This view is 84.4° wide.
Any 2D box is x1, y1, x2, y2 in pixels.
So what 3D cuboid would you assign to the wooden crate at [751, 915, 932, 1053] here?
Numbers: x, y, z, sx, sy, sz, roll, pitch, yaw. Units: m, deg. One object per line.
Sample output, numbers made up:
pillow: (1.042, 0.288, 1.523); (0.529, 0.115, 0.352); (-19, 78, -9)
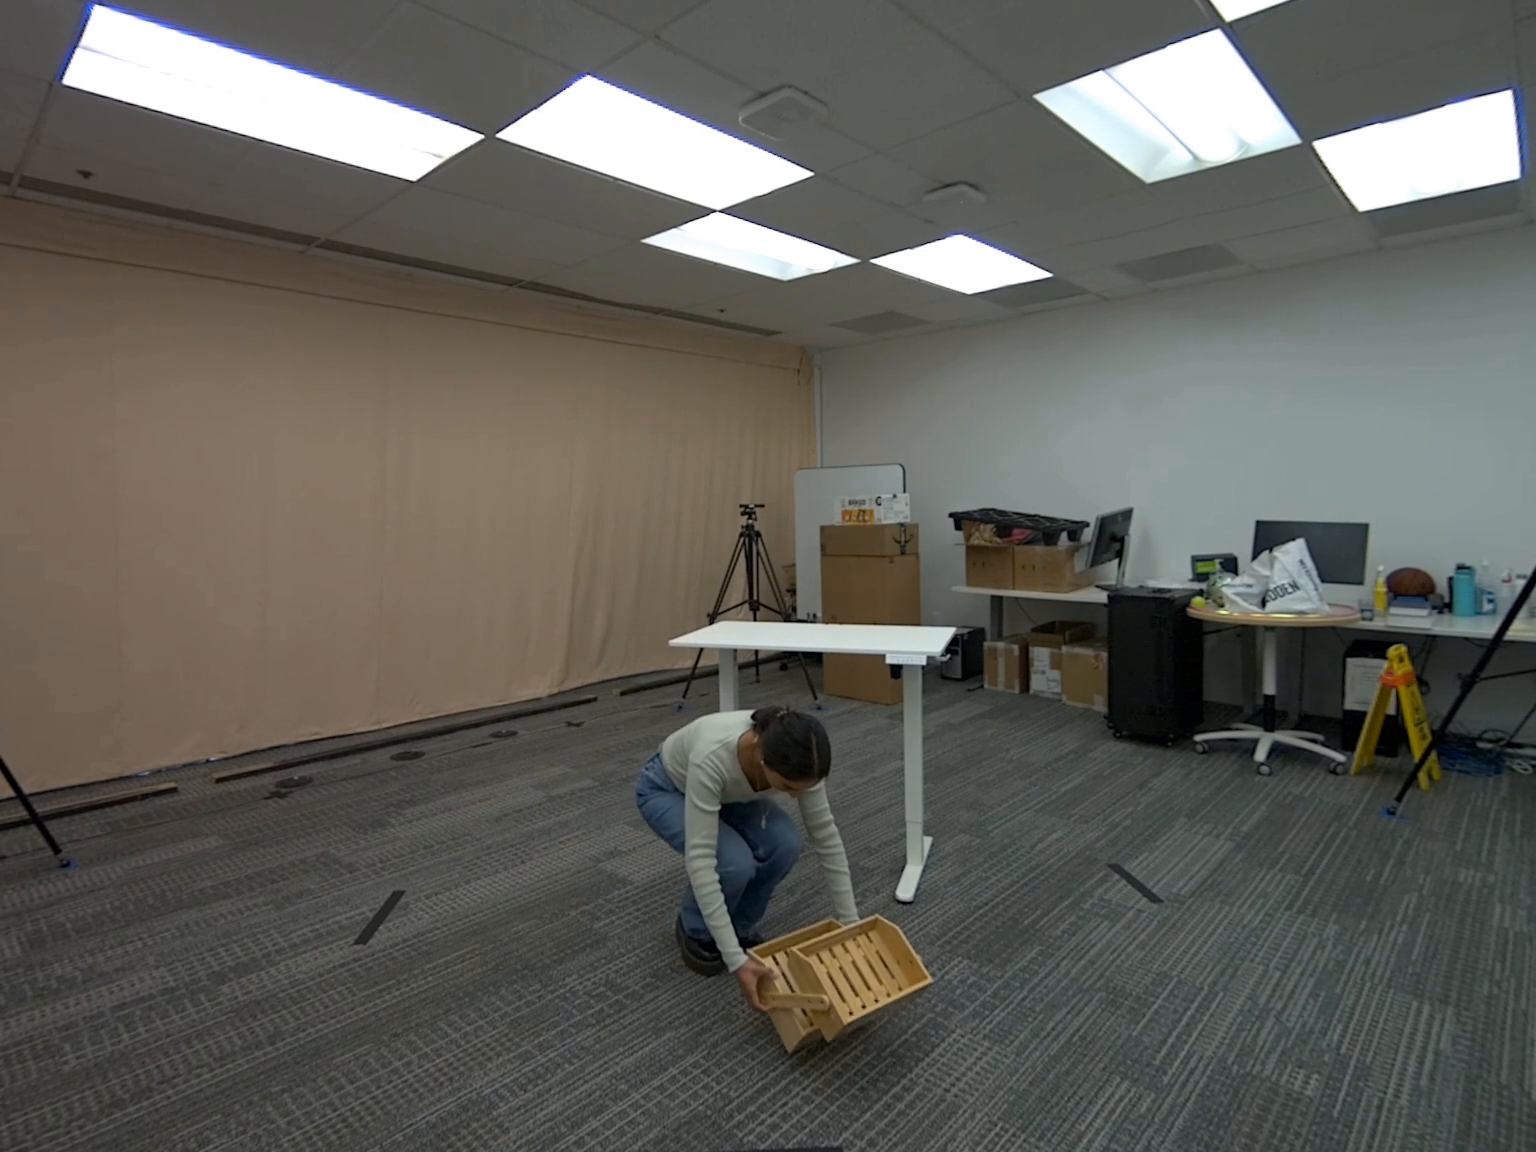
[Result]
wooden crate: (0.177, 1.008, 2.148); (0.315, 0.272, 0.312); (-3, 42, -37)
